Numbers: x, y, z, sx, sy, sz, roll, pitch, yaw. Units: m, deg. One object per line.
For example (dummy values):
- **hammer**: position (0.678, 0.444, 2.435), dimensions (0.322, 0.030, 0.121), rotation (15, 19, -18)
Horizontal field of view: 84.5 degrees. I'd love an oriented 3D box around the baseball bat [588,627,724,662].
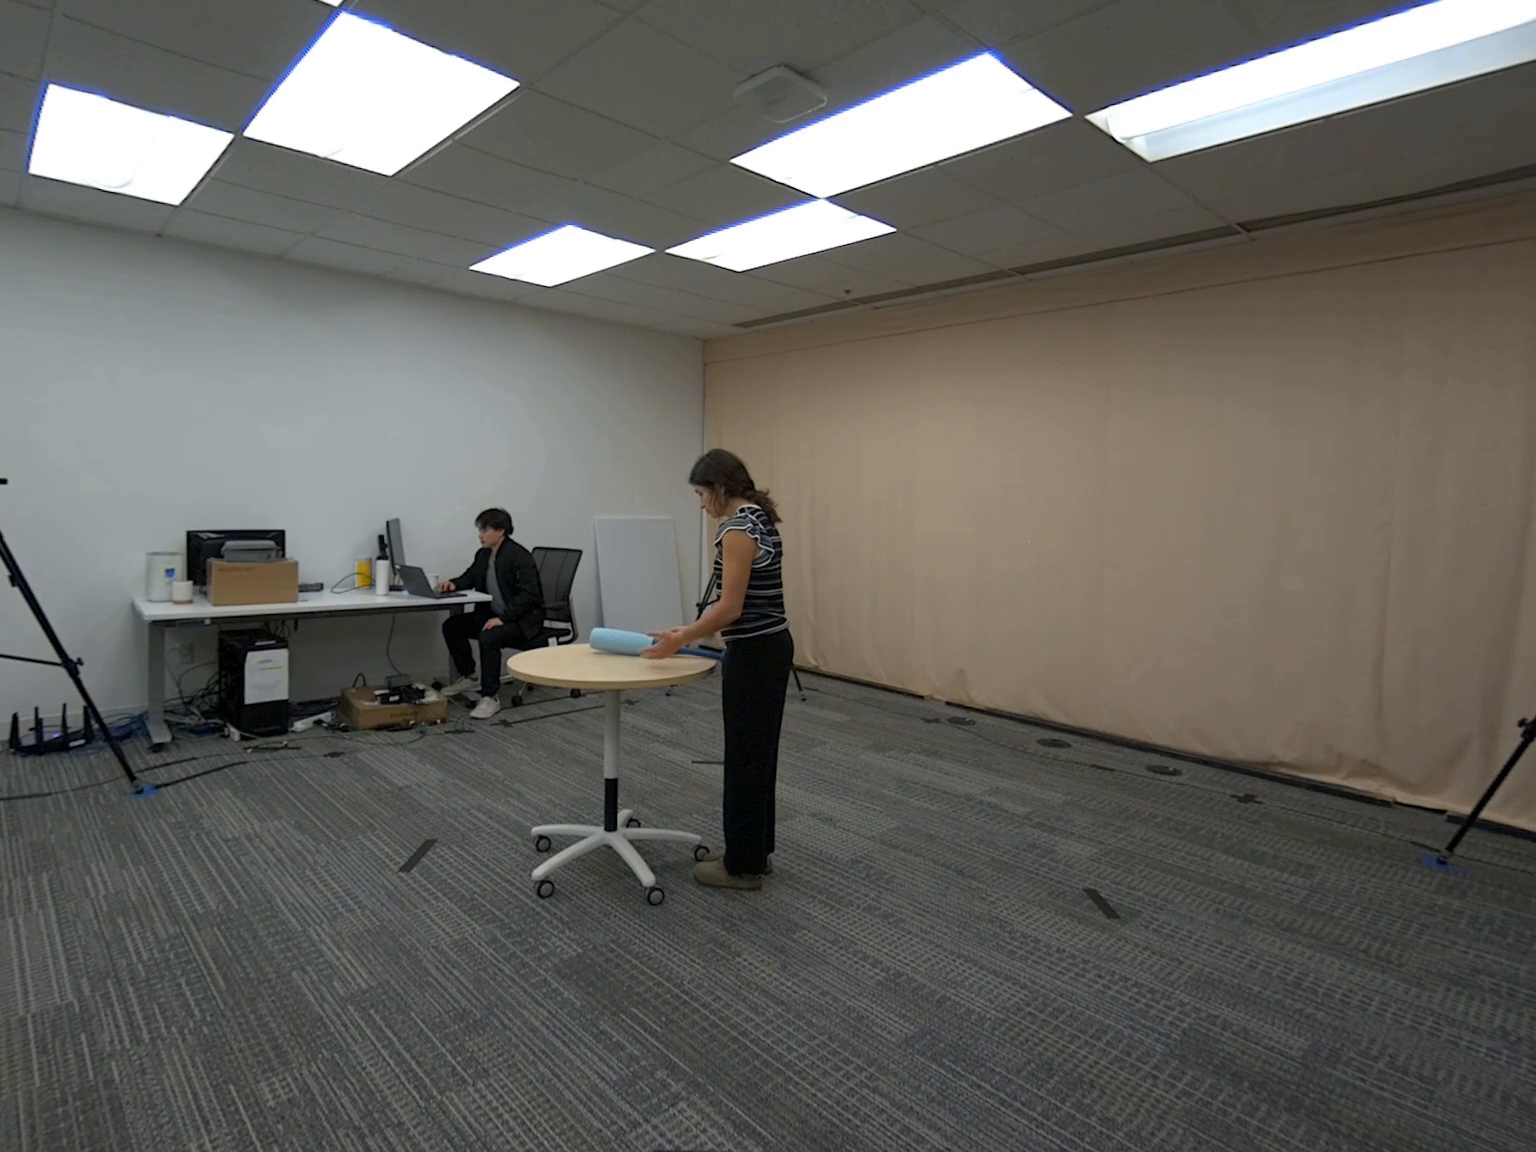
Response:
- **baseball bat**: position (-0.417, 0.271, 3.197), dimensions (0.548, 0.089, 0.088), rotation (7, 5, 11)
